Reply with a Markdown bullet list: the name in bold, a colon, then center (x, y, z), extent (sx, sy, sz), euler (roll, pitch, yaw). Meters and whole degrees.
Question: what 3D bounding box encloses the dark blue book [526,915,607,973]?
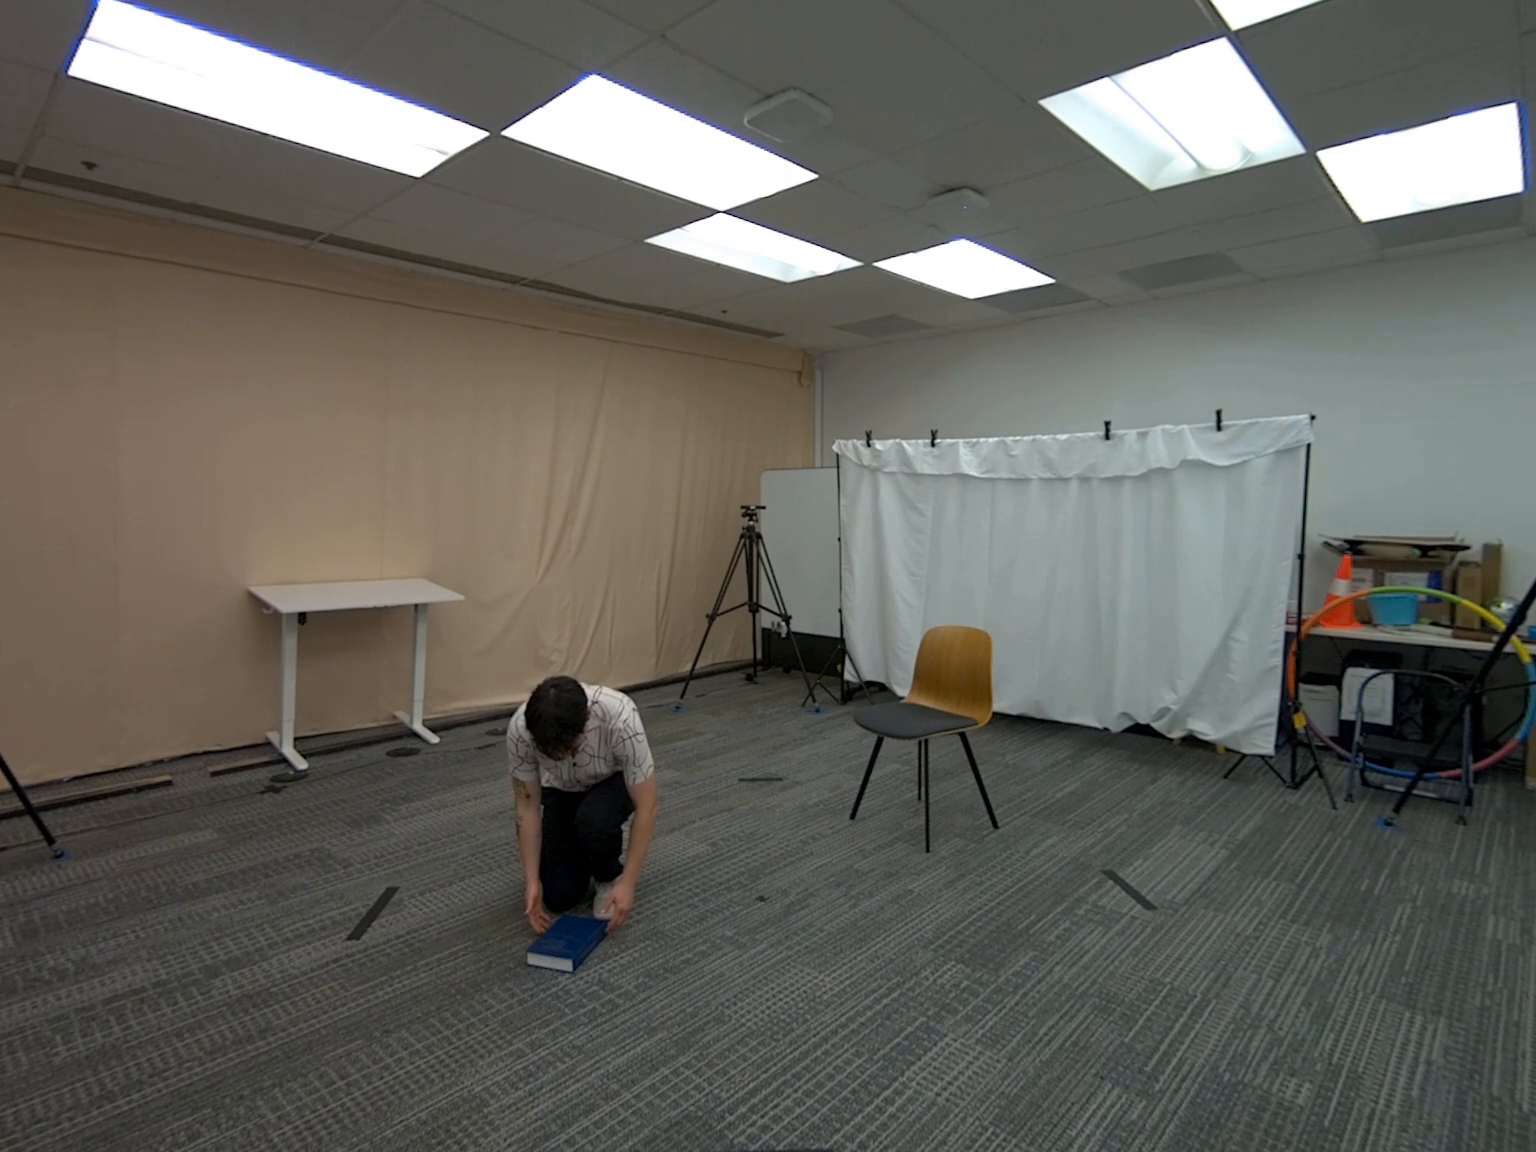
- **dark blue book**: center (-0.629, 1.145, 2.649), extent (0.166, 0.045, 0.241), euler (0, 5, 16)
